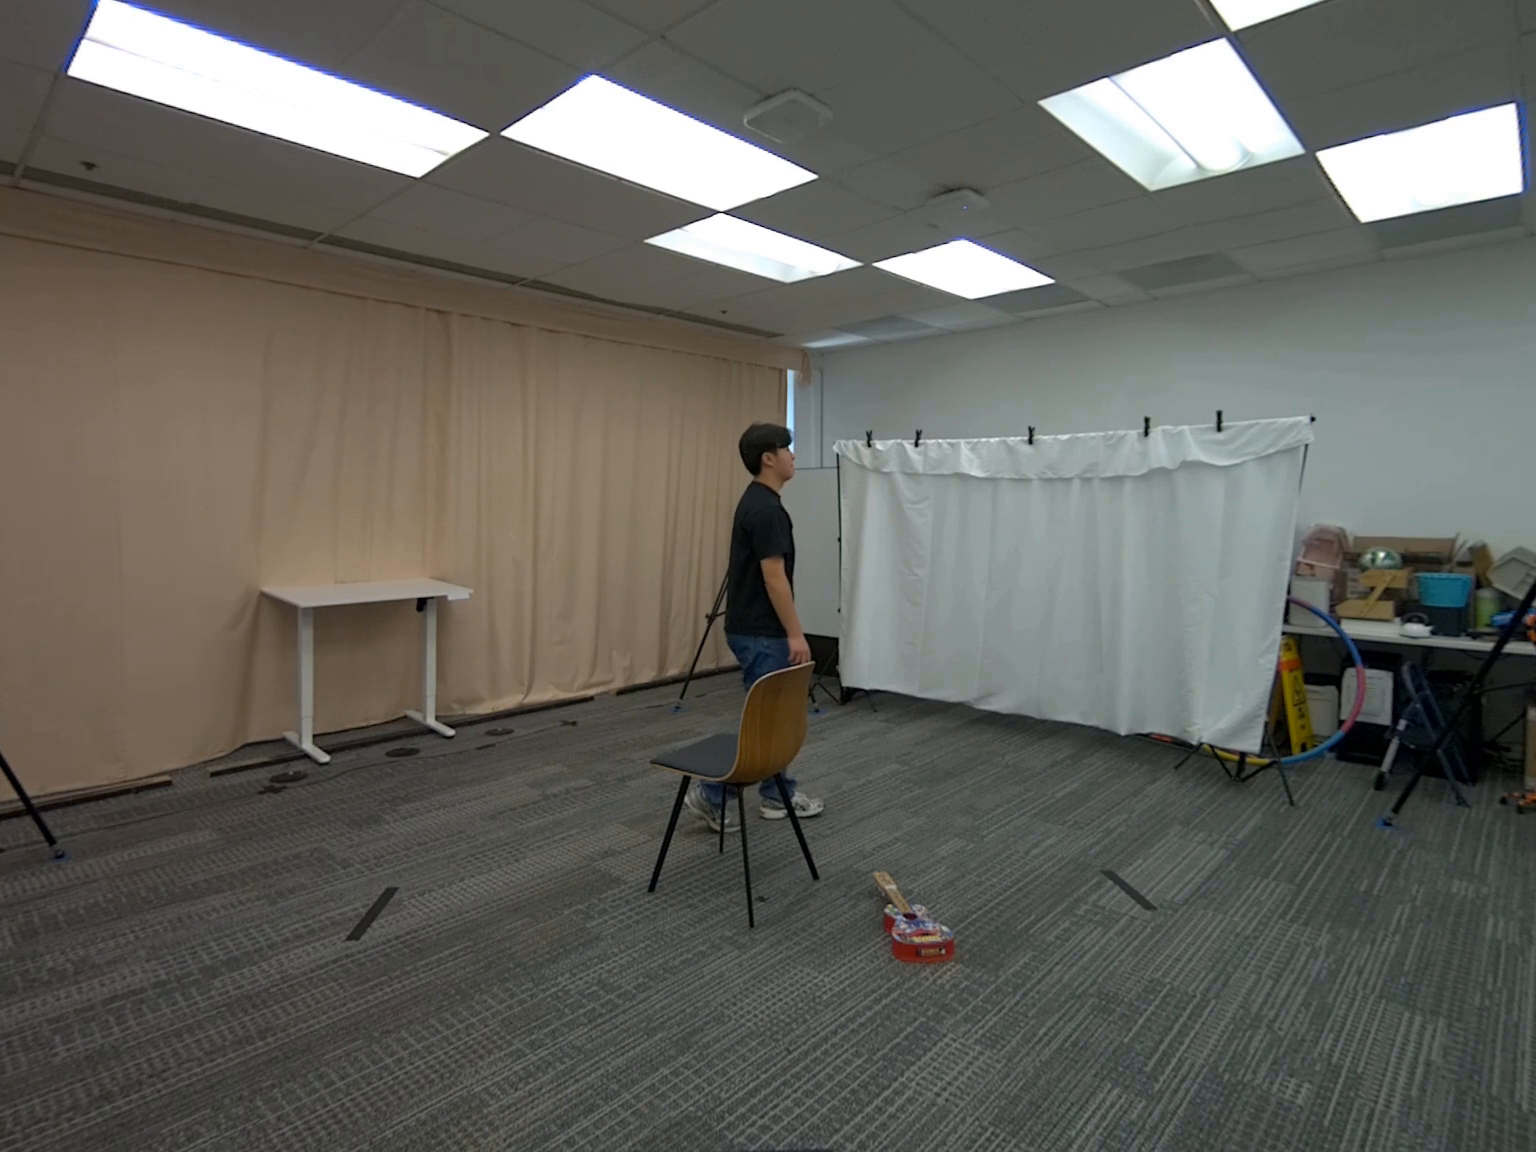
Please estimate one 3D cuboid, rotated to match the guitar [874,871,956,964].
[{"bbox_3d":[0.482,1.122,2.805,0.193,0.070,0.499,-1,5,-1],"label":"guitar"}]
